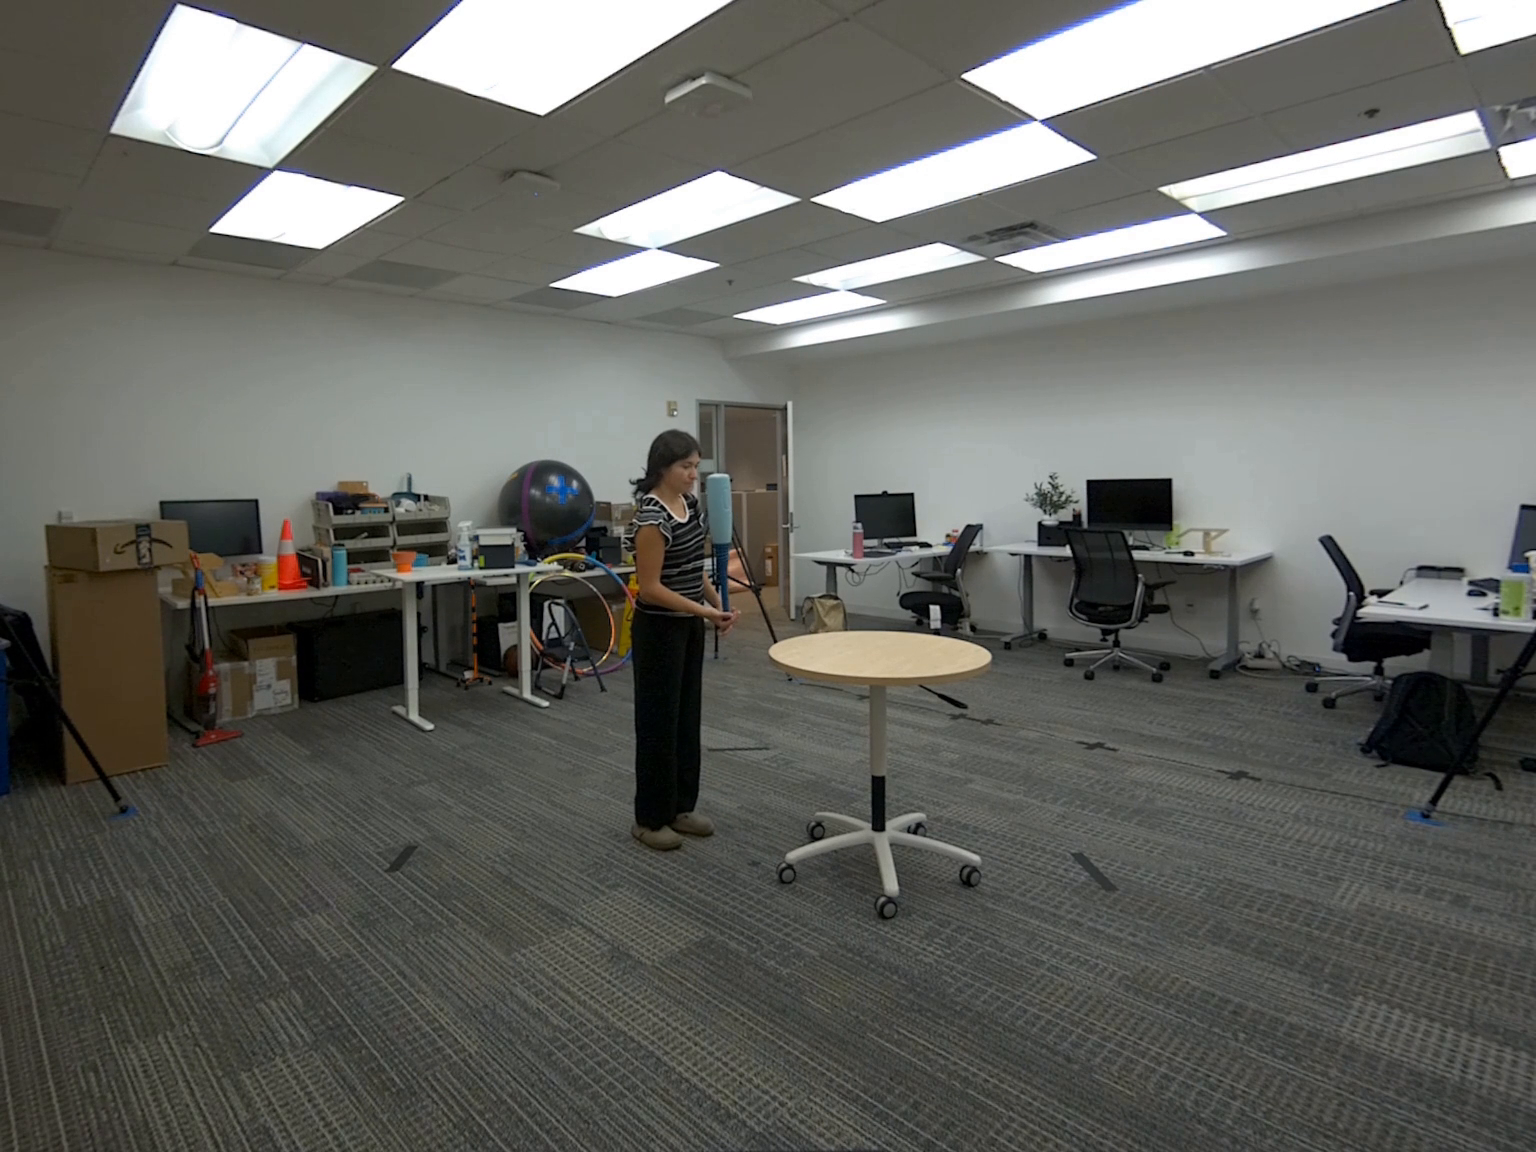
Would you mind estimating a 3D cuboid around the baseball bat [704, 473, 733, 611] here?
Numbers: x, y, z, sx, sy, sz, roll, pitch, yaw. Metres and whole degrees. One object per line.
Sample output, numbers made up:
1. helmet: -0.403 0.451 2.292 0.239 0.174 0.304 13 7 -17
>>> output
1. baseball bat: -0.175 -0.102 3.128 0.089 0.538 0.090 -2 9 -1
